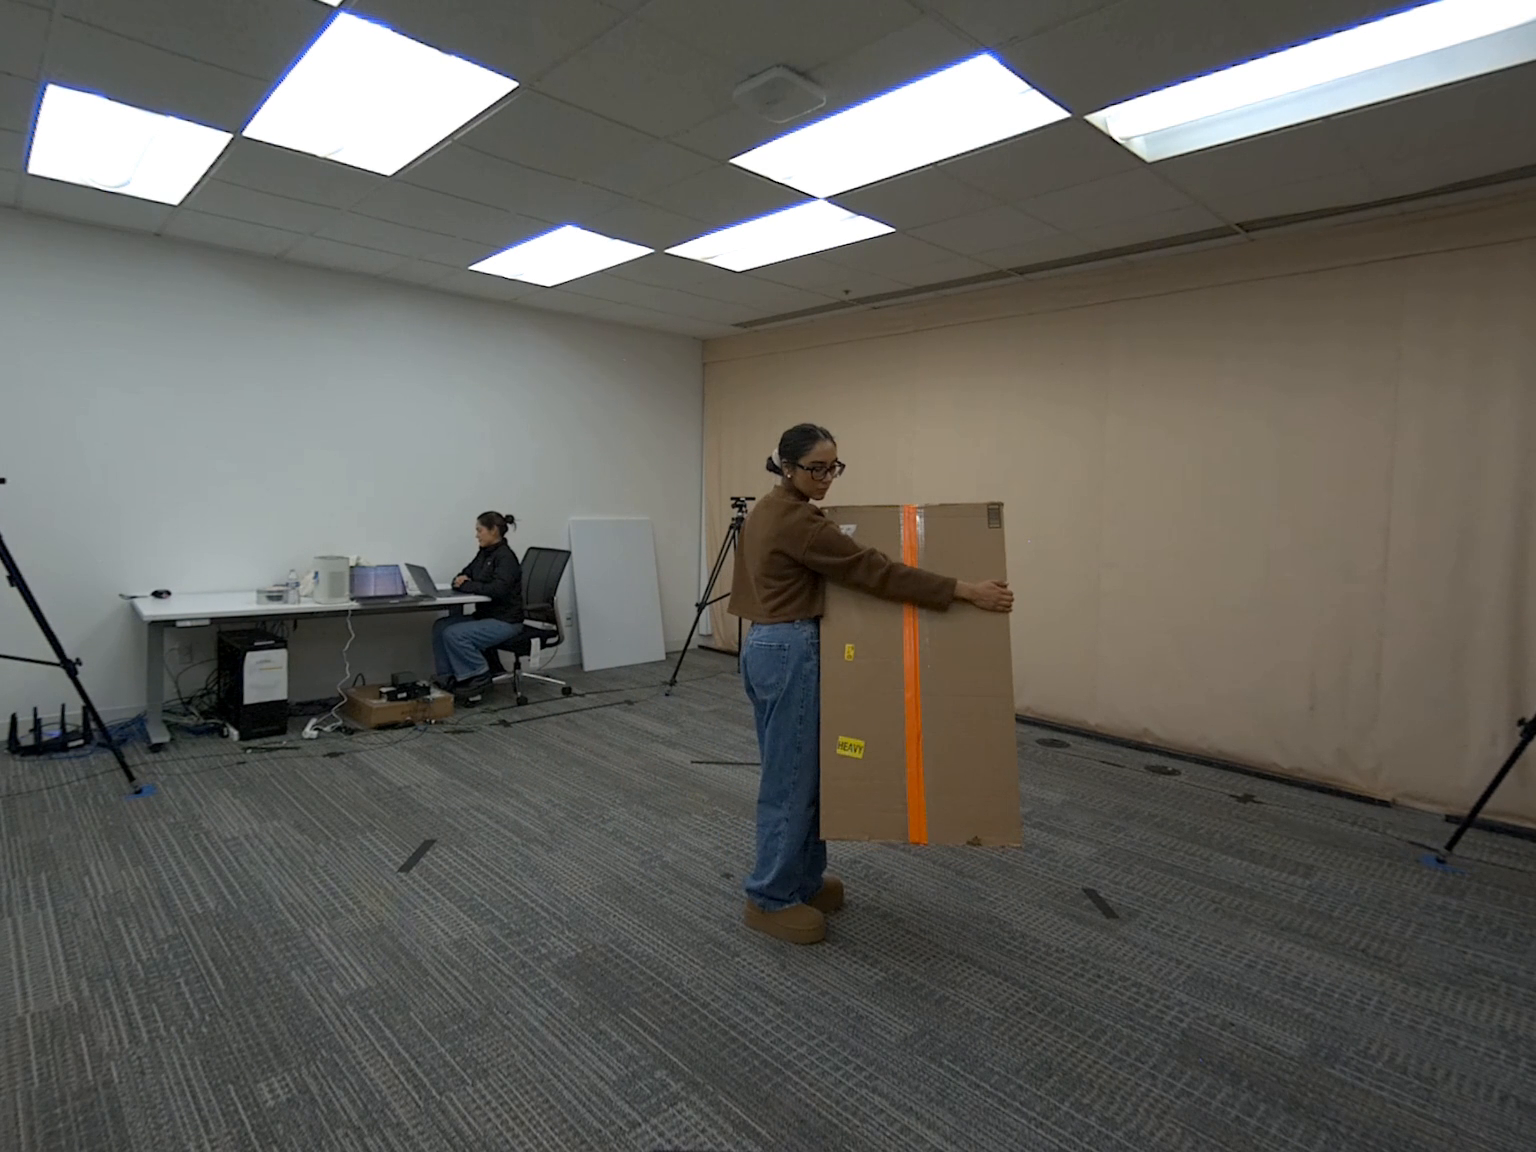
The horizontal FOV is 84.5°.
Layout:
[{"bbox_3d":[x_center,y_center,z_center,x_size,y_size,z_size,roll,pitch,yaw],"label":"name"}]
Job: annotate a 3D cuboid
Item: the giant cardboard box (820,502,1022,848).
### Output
[{"bbox_3d":[0.463,0.322,2.740,0.581,1.036,0.419,-1,-14,7],"label":"giant cardboard box"}]
